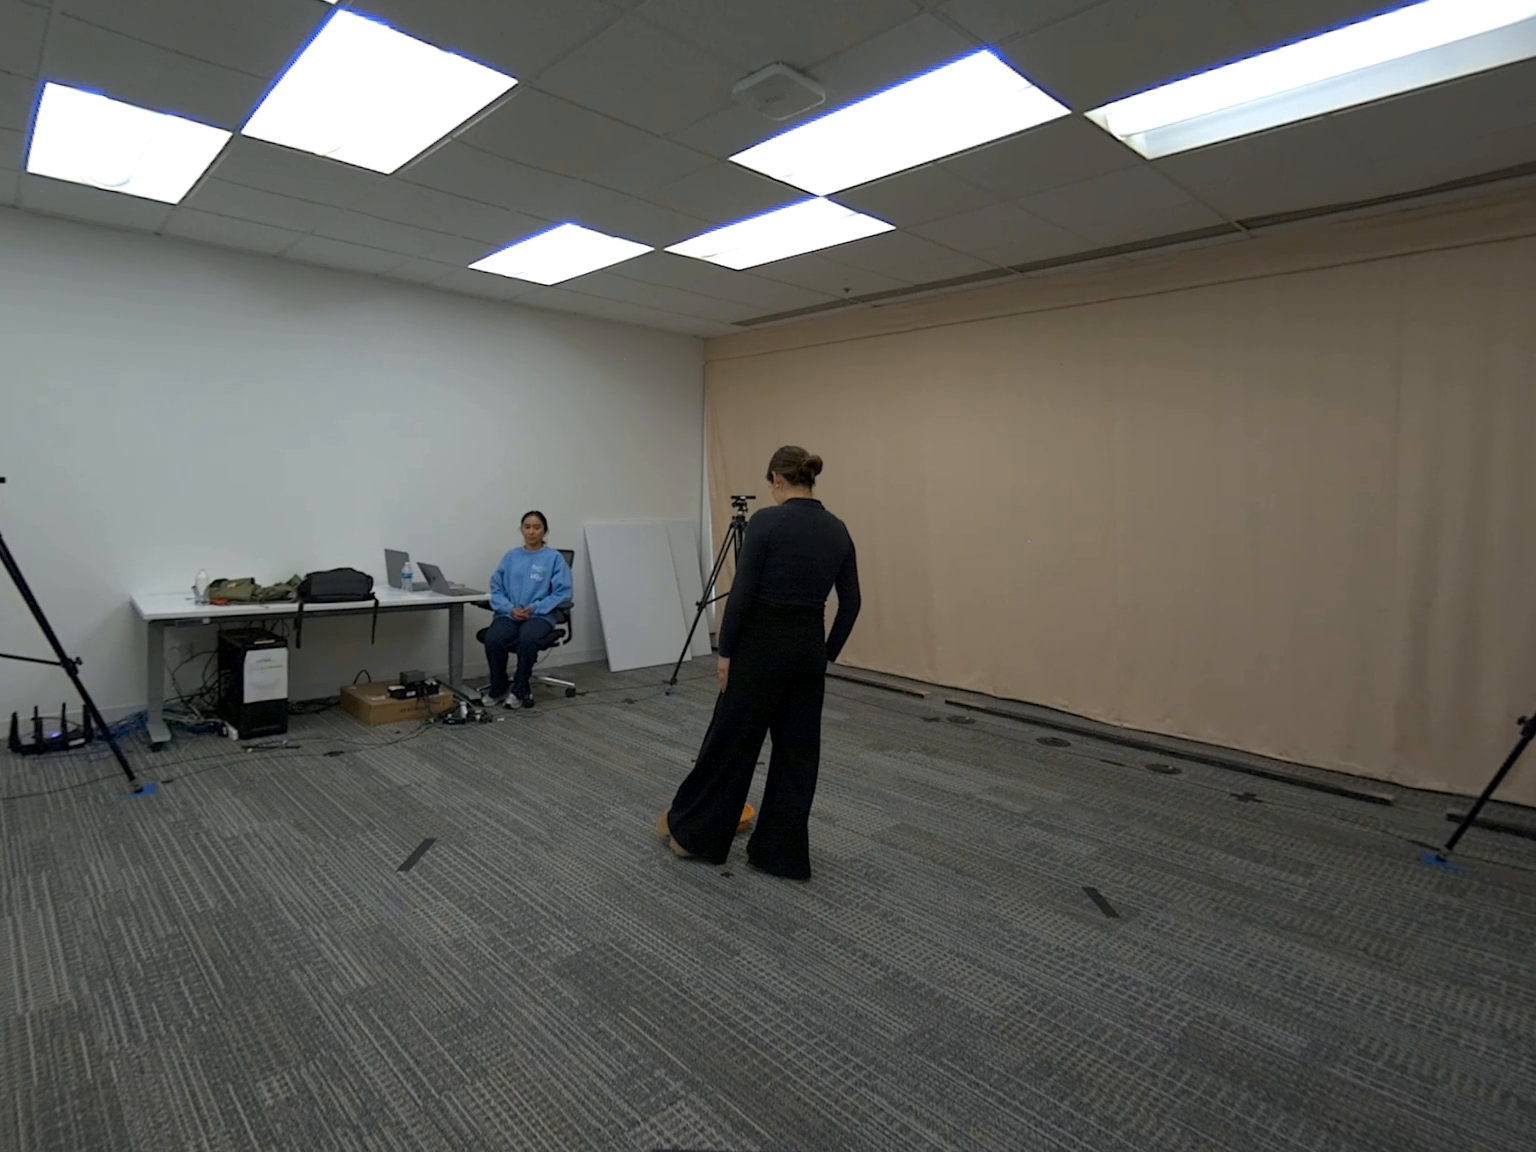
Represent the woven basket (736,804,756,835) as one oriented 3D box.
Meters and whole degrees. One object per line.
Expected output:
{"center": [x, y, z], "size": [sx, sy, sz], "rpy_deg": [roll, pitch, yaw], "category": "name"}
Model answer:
{"center": [-0.230, 1.023, 3.548], "size": [0.344, 0.073, 0.258], "rpy_deg": [1, 7, -23], "category": "woven basket"}
